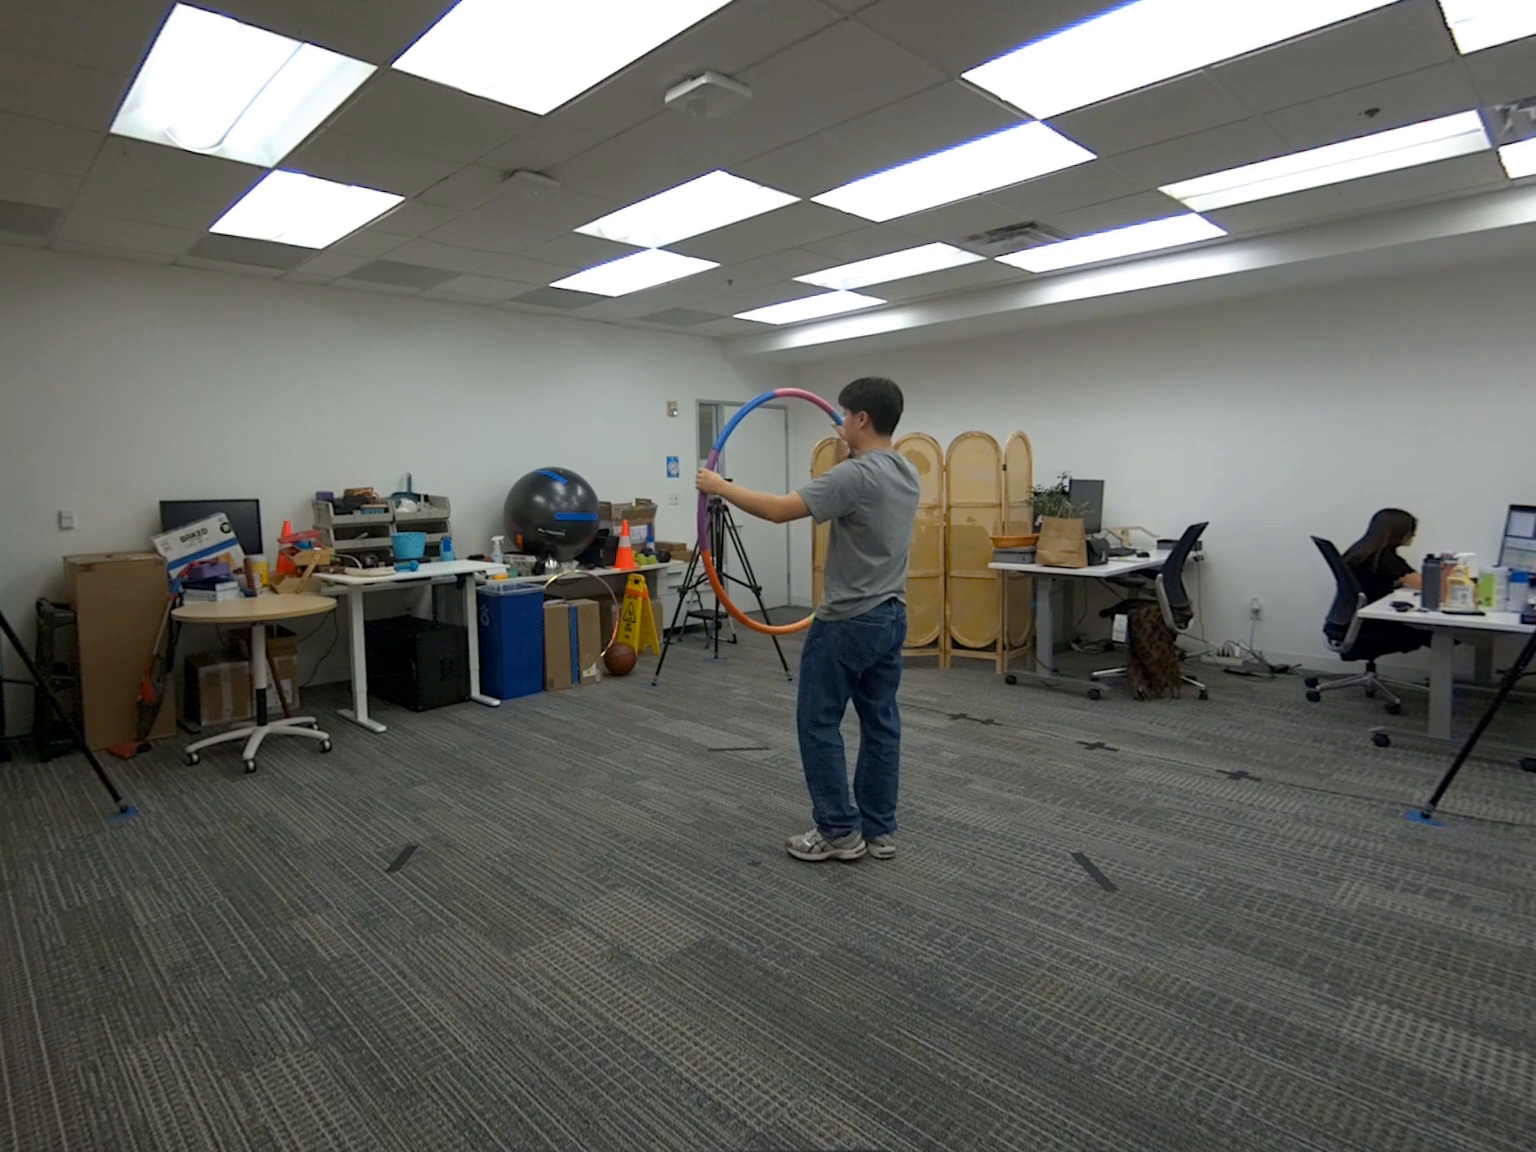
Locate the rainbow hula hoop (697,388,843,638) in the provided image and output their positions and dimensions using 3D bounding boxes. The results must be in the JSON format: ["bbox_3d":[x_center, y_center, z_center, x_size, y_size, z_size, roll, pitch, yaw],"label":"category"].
[{"bbox_3d":[0.087,-0.257,3.454,0.953,0.973,0.037,-5,8,-43],"label":"rainbow hula hoop"}]
